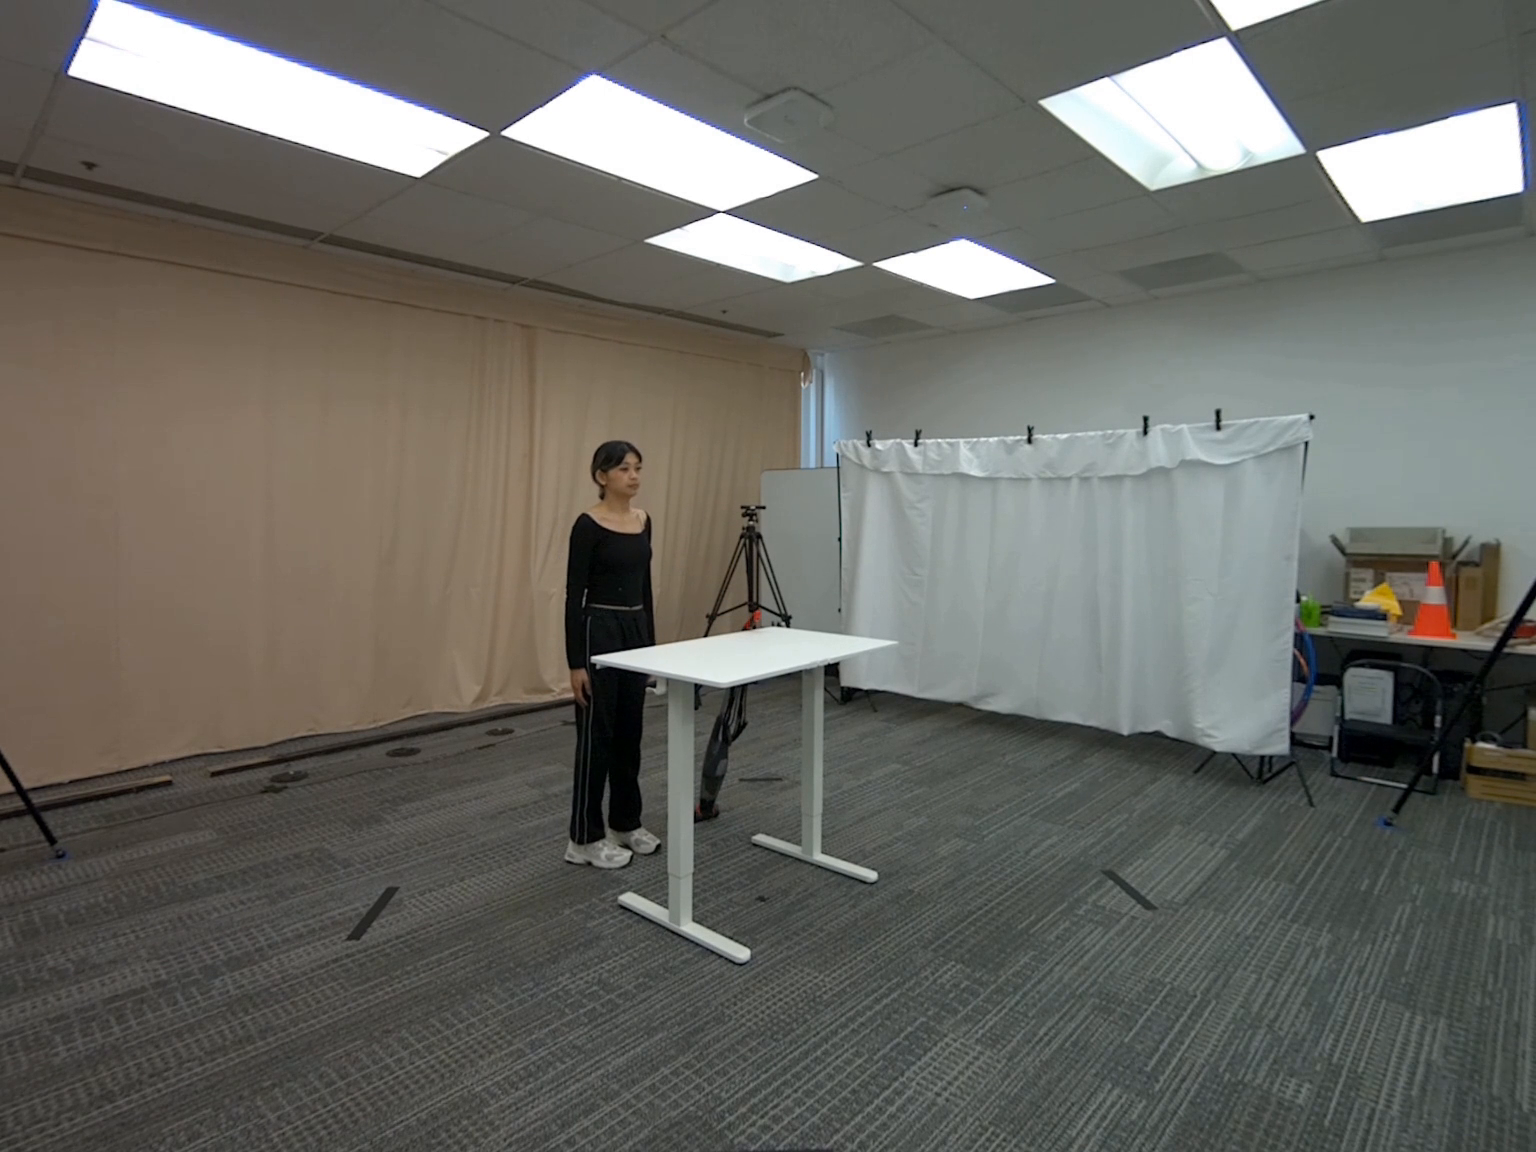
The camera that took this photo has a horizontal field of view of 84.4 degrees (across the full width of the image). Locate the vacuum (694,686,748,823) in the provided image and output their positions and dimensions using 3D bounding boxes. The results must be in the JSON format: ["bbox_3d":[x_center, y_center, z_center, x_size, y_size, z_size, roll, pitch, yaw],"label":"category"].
[{"bbox_3d":[-0.168,0.616,3.594,0.245,1.043,0.149,0,28,-39],"label":"vacuum"}]
